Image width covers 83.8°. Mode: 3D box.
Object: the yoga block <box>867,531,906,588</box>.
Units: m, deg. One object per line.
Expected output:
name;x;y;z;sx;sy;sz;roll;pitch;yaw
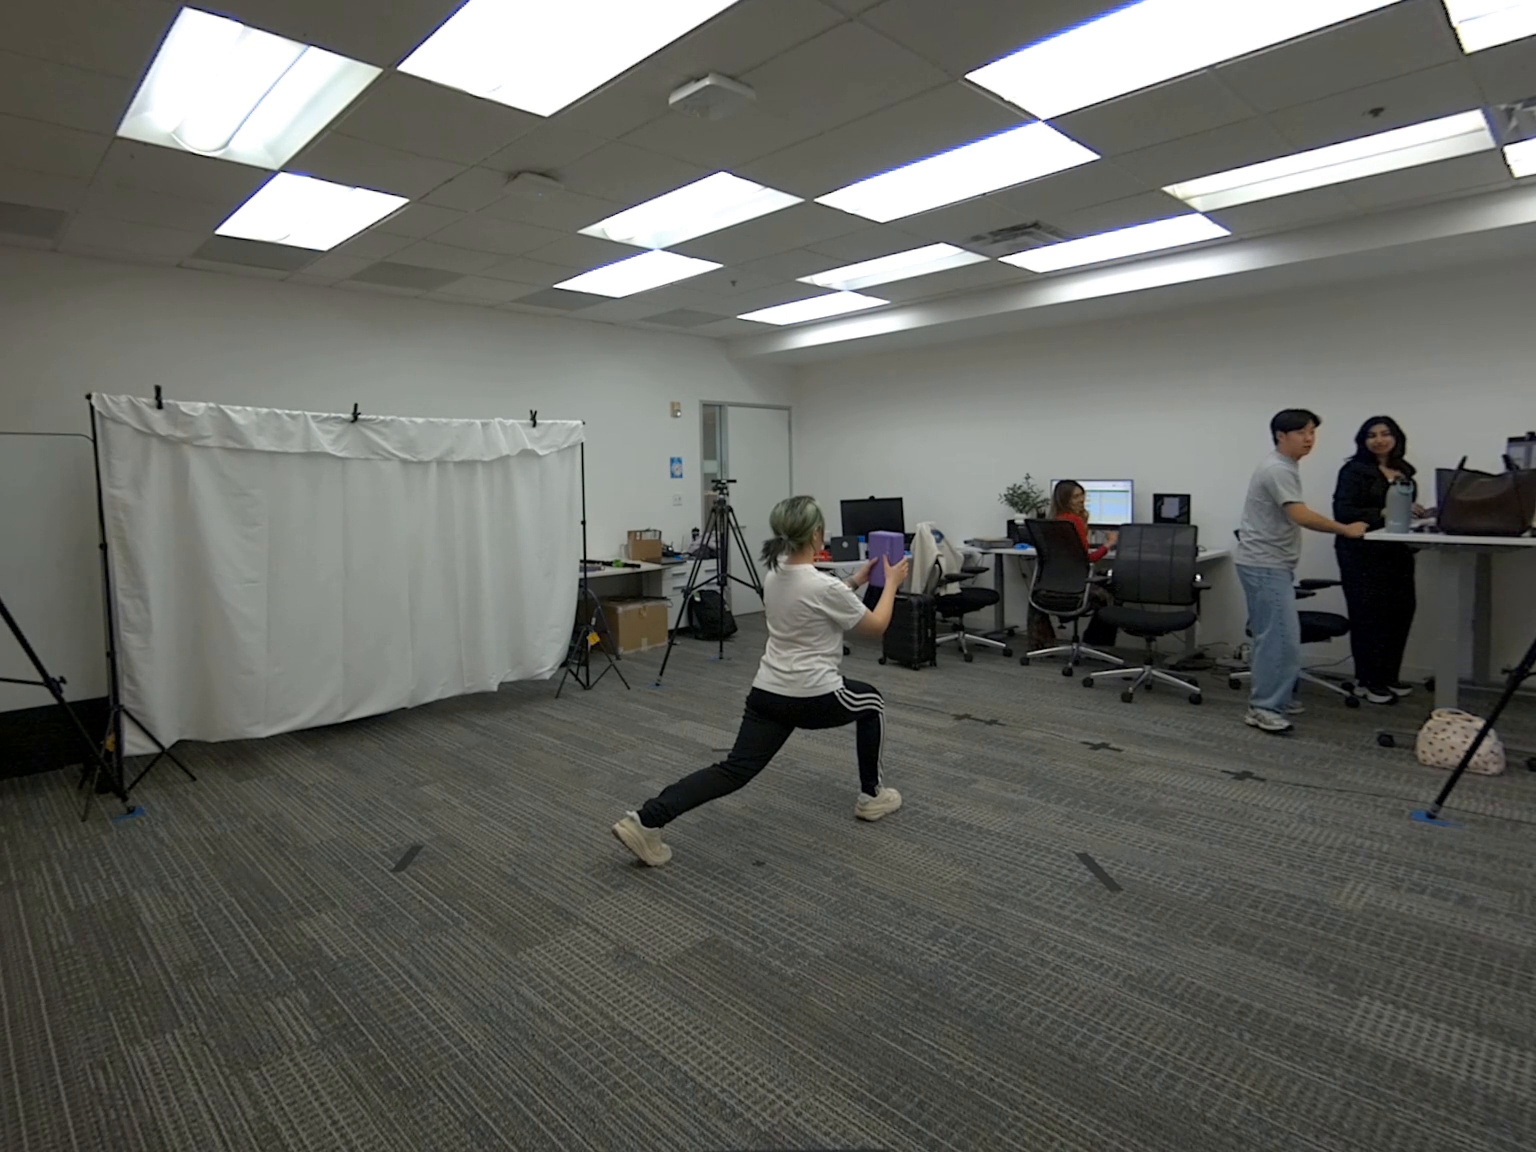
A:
yoga block;0.503;-0.068;3.615;0.074;0.228;0.153;-5;8;-34
